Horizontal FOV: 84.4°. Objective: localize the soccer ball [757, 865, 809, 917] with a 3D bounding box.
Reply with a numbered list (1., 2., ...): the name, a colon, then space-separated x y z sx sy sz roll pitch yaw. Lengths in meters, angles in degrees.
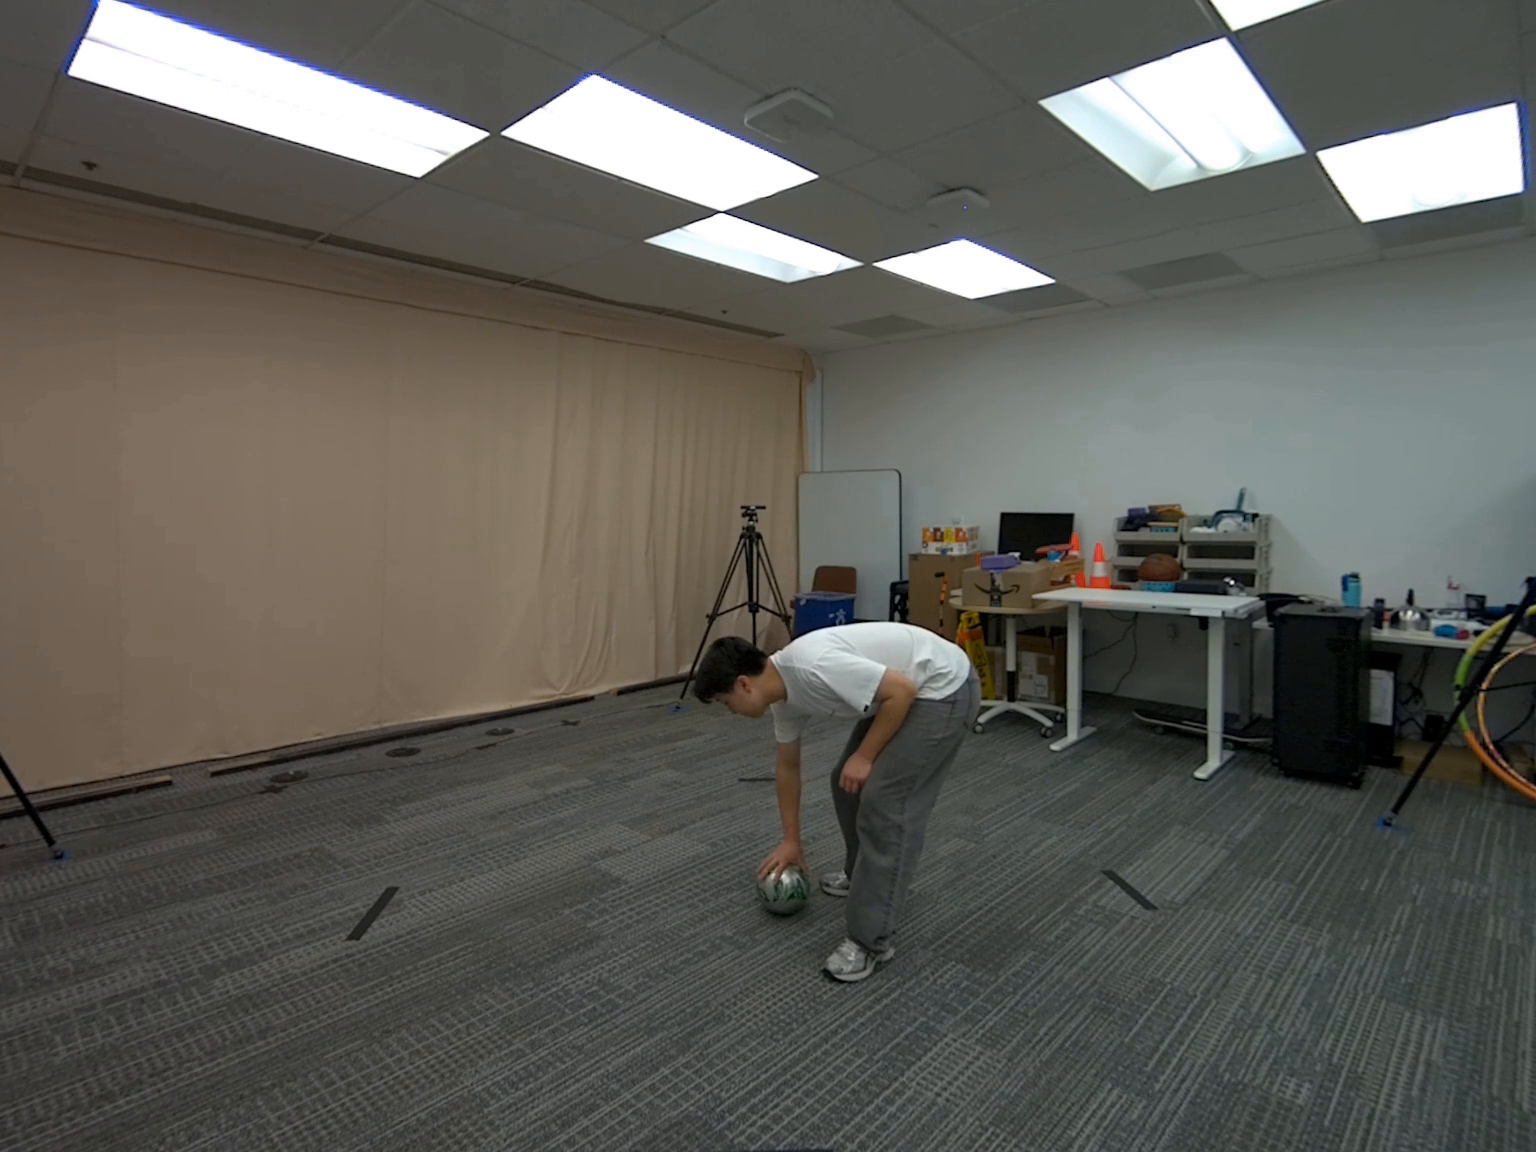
1. soccer ball: 0.062 1.067 2.896 0.187 0.187 0.188 0 4 -2
